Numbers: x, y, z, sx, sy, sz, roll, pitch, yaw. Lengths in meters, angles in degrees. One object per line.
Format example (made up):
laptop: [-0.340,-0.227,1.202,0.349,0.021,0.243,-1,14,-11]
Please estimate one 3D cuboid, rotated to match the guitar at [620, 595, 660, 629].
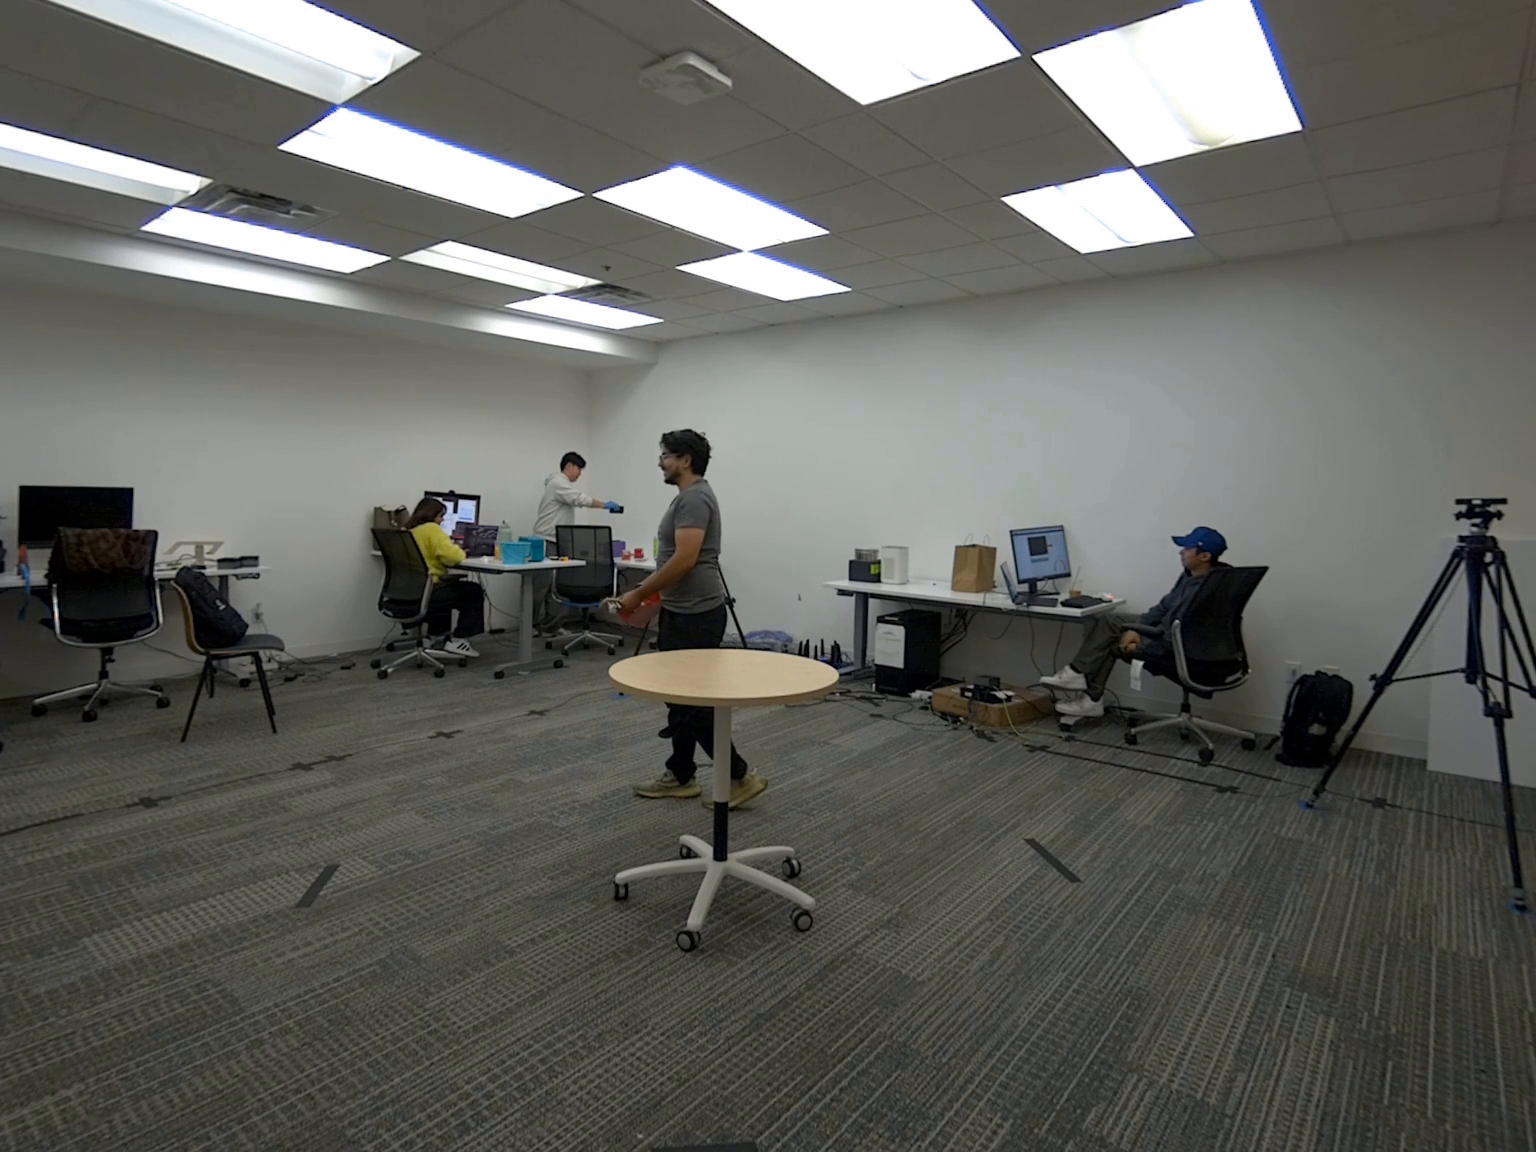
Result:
guitar: [-0.628,0.158,3.724,0.193,0.072,0.487,-45,-13,18]
